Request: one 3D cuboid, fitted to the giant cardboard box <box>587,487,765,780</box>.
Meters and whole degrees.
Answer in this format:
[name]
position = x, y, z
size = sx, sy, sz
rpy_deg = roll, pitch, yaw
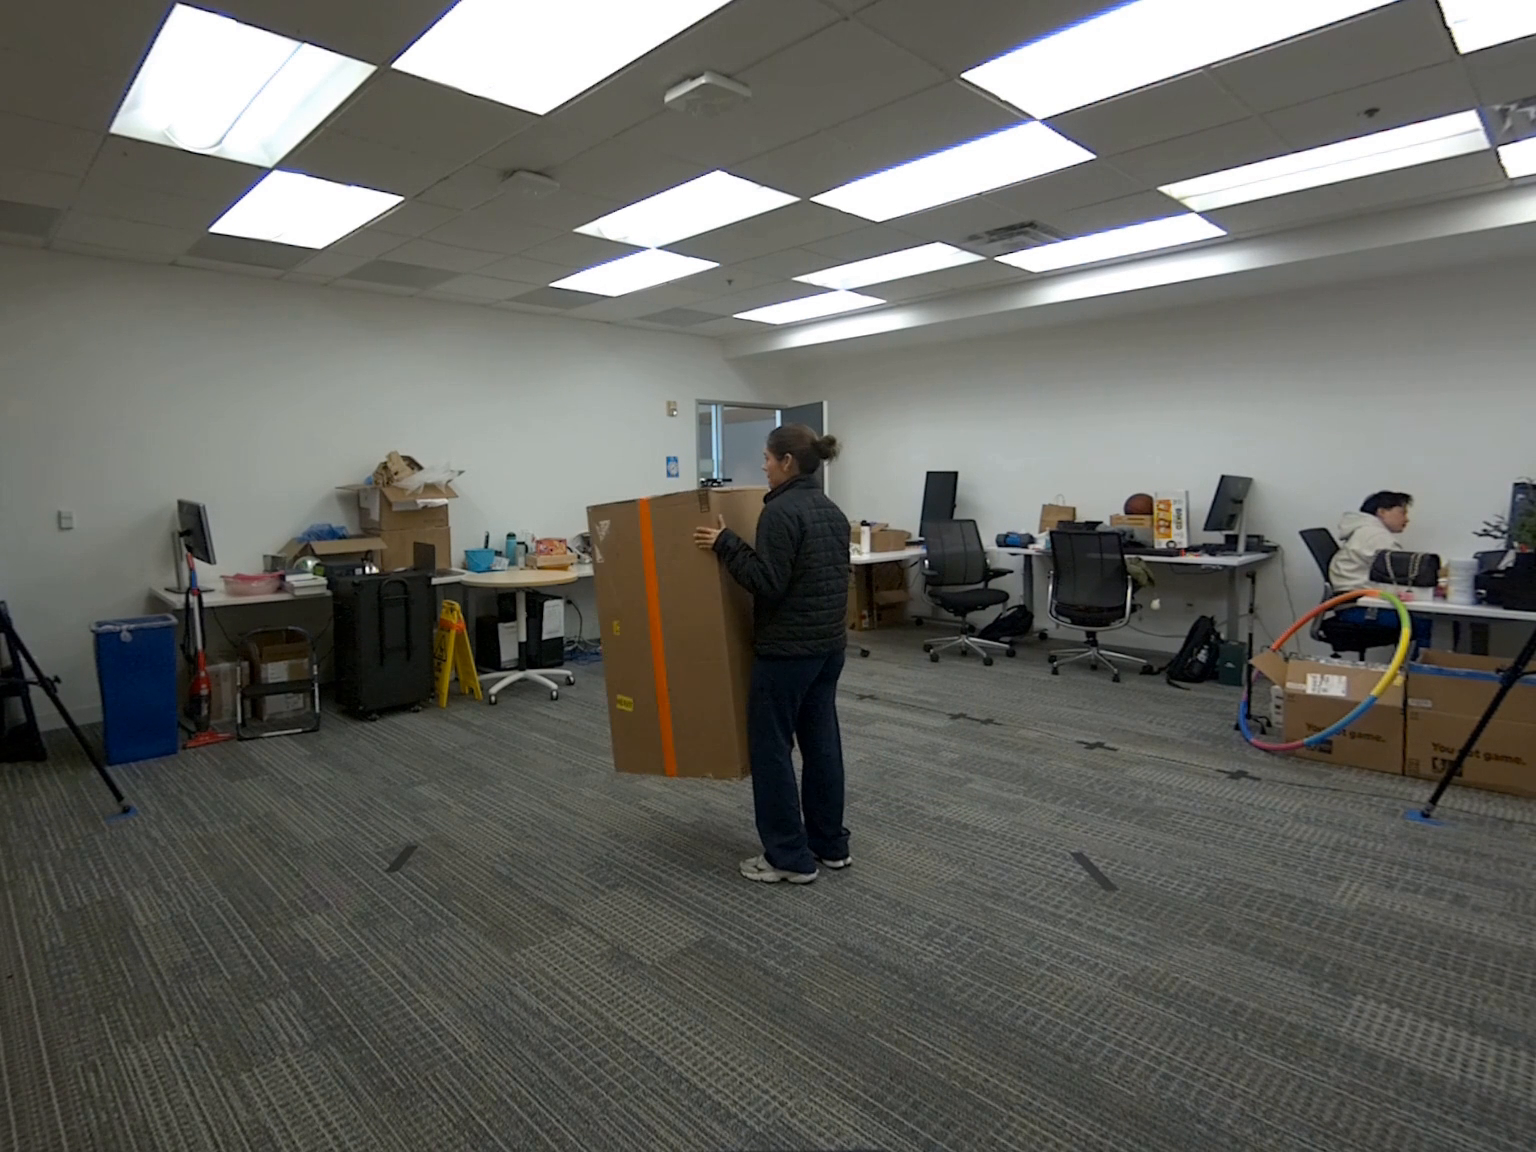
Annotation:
[giant cardboard box]
position = -0.290, 0.205, 3.288
size = 0.591, 1.026, 0.416
rpy_deg = -6, 0, 33
